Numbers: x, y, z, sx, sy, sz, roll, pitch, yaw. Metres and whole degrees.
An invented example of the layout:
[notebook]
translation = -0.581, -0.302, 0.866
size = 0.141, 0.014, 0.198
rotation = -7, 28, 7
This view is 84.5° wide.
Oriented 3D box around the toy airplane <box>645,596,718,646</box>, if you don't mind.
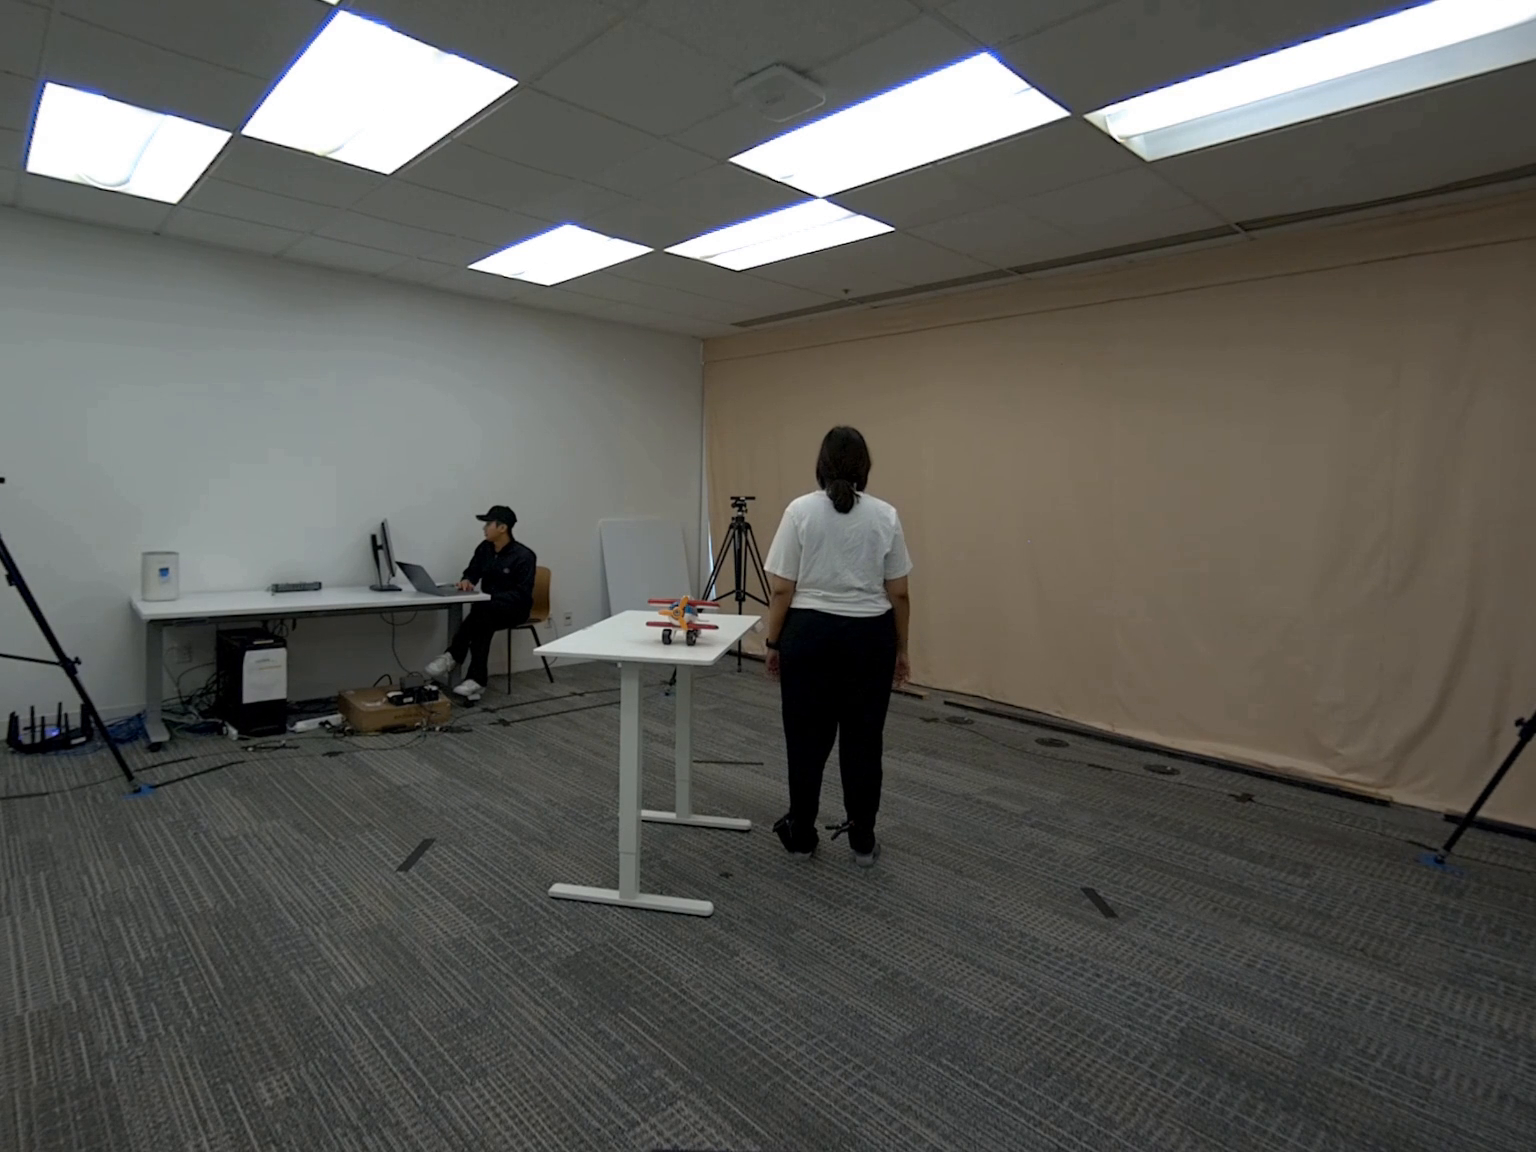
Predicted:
[toy airplane]
translation = -0.317, 0.153, 2.972
size = 0.247, 0.156, 0.264
rotation = 1, 5, -18
